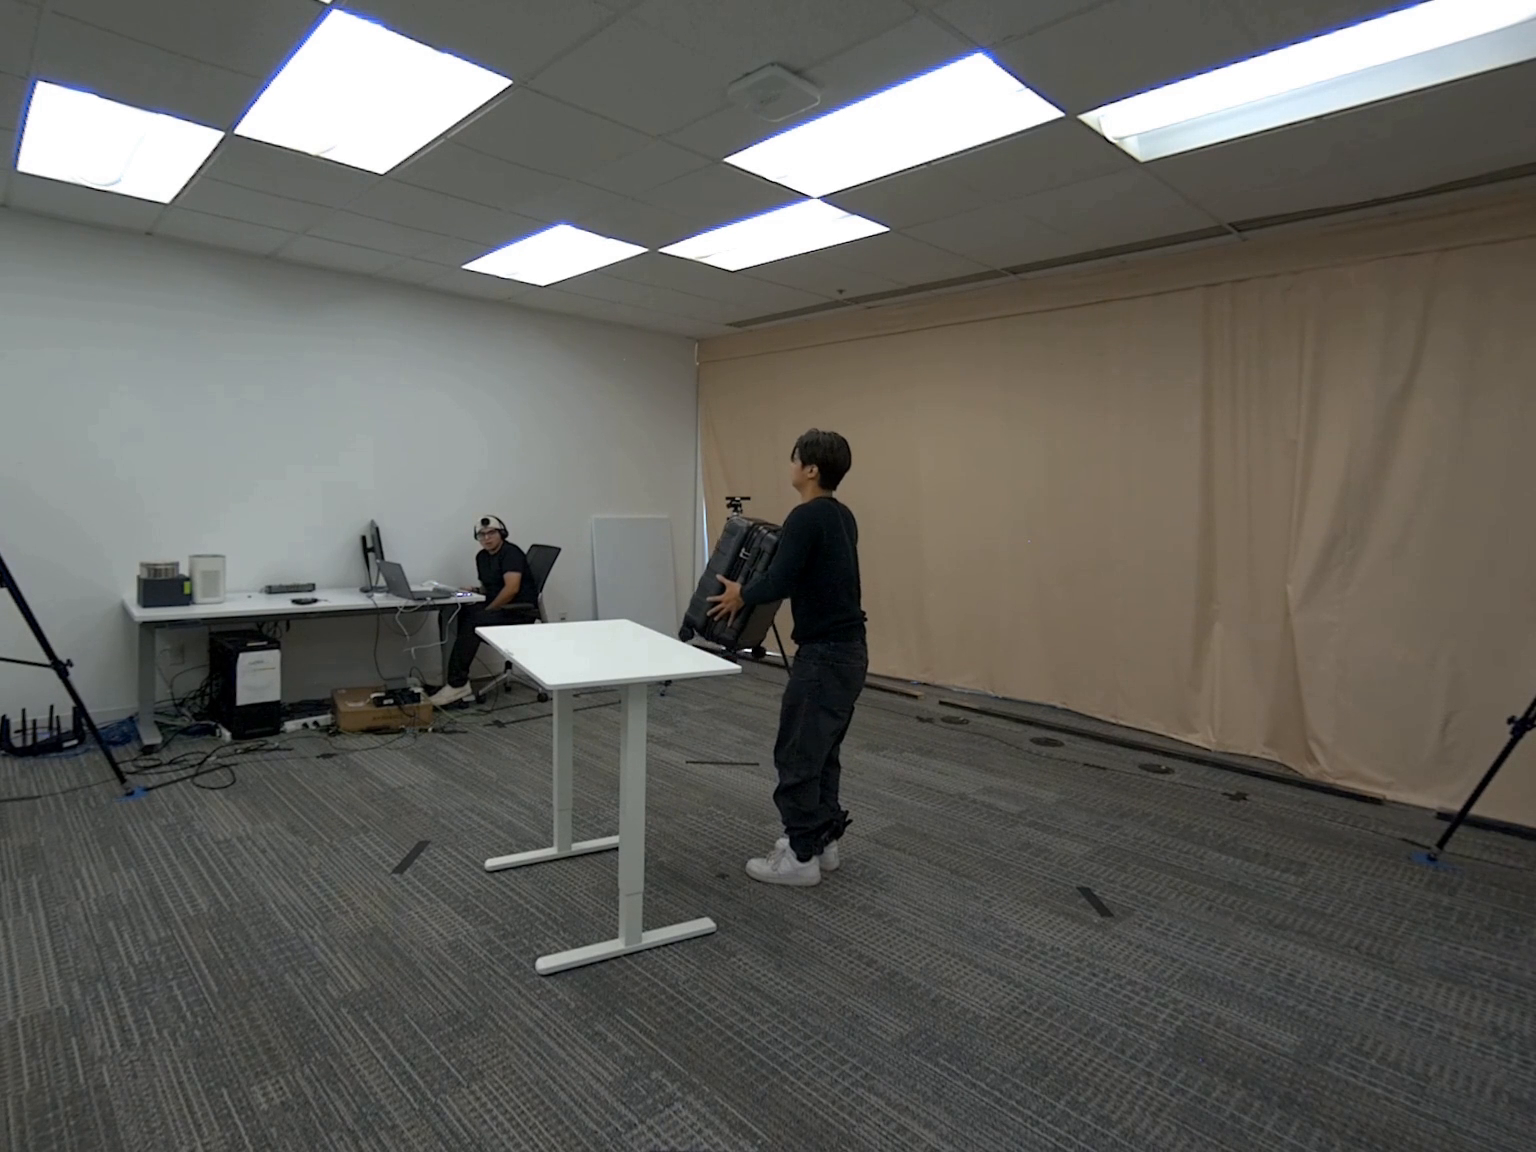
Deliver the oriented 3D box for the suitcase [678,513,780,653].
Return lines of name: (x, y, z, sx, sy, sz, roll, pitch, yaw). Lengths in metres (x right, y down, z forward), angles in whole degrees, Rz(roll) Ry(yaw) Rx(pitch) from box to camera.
suitcase: (-0.099, 0.038, 3.364, 0.254, 0.547, 0.368, 26, 10, 22)
